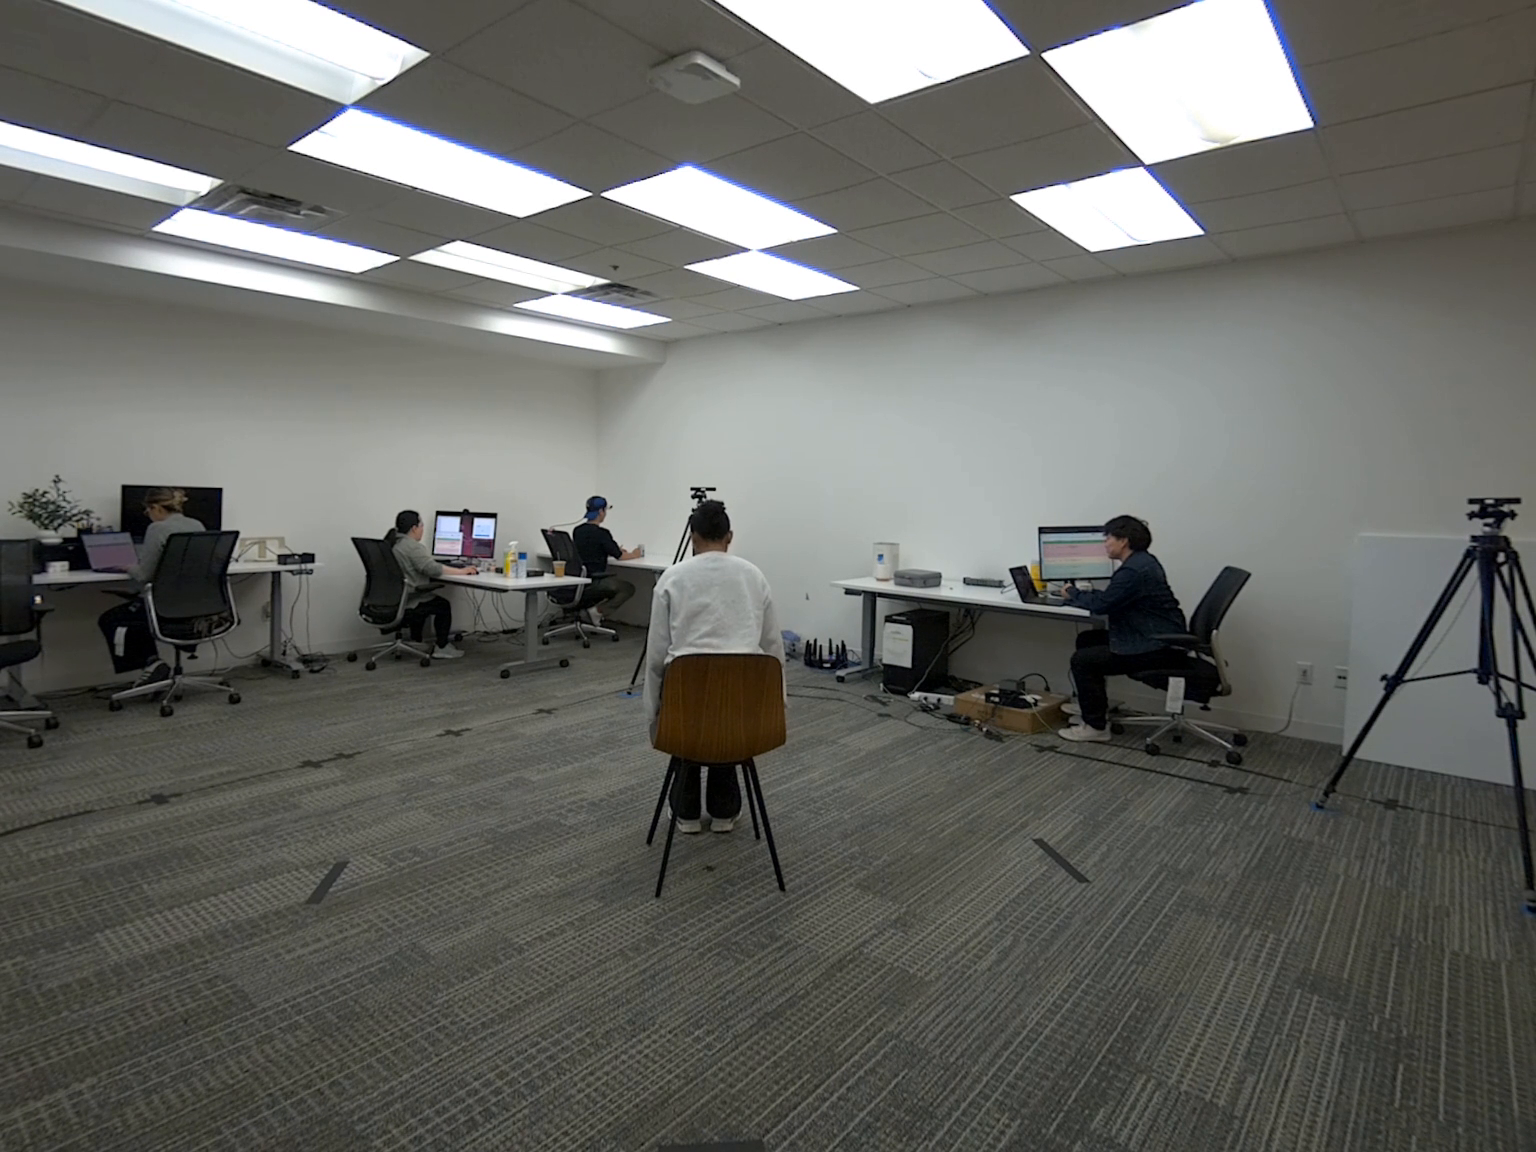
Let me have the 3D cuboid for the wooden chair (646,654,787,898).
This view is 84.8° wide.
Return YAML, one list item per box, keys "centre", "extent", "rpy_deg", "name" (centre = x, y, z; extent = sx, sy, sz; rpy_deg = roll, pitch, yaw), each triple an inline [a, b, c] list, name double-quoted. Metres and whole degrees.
- centre: [-0.209, 0.636, 3.109]
  extent: [0.473, 0.872, 0.532]
  rpy_deg: [0, 7, -11]
  name: "wooden chair"
